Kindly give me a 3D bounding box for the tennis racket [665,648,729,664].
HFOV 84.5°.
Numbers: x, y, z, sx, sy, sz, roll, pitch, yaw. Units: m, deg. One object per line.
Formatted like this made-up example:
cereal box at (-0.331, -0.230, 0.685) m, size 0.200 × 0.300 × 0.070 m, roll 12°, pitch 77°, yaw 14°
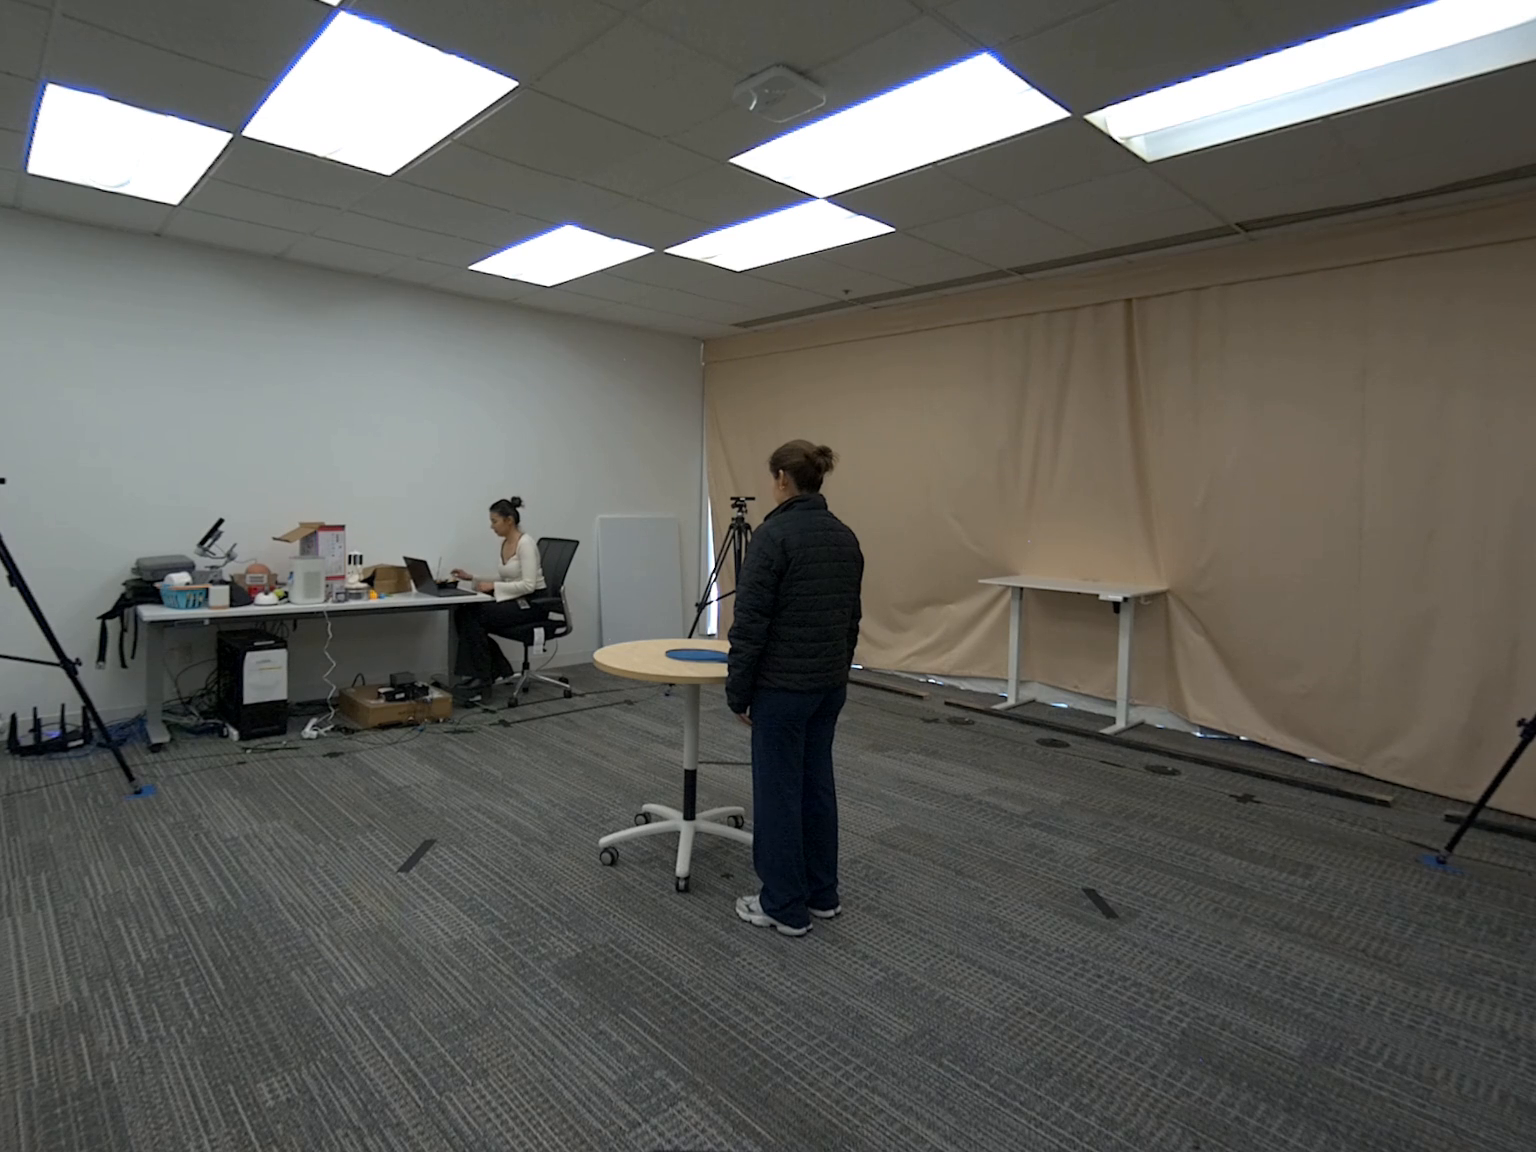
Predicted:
tennis racket at (-0.210, 0.307, 3.179) m, size 0.443 × 0.031 × 0.209 m, roll 4°, pitch 6°, yaw 38°
